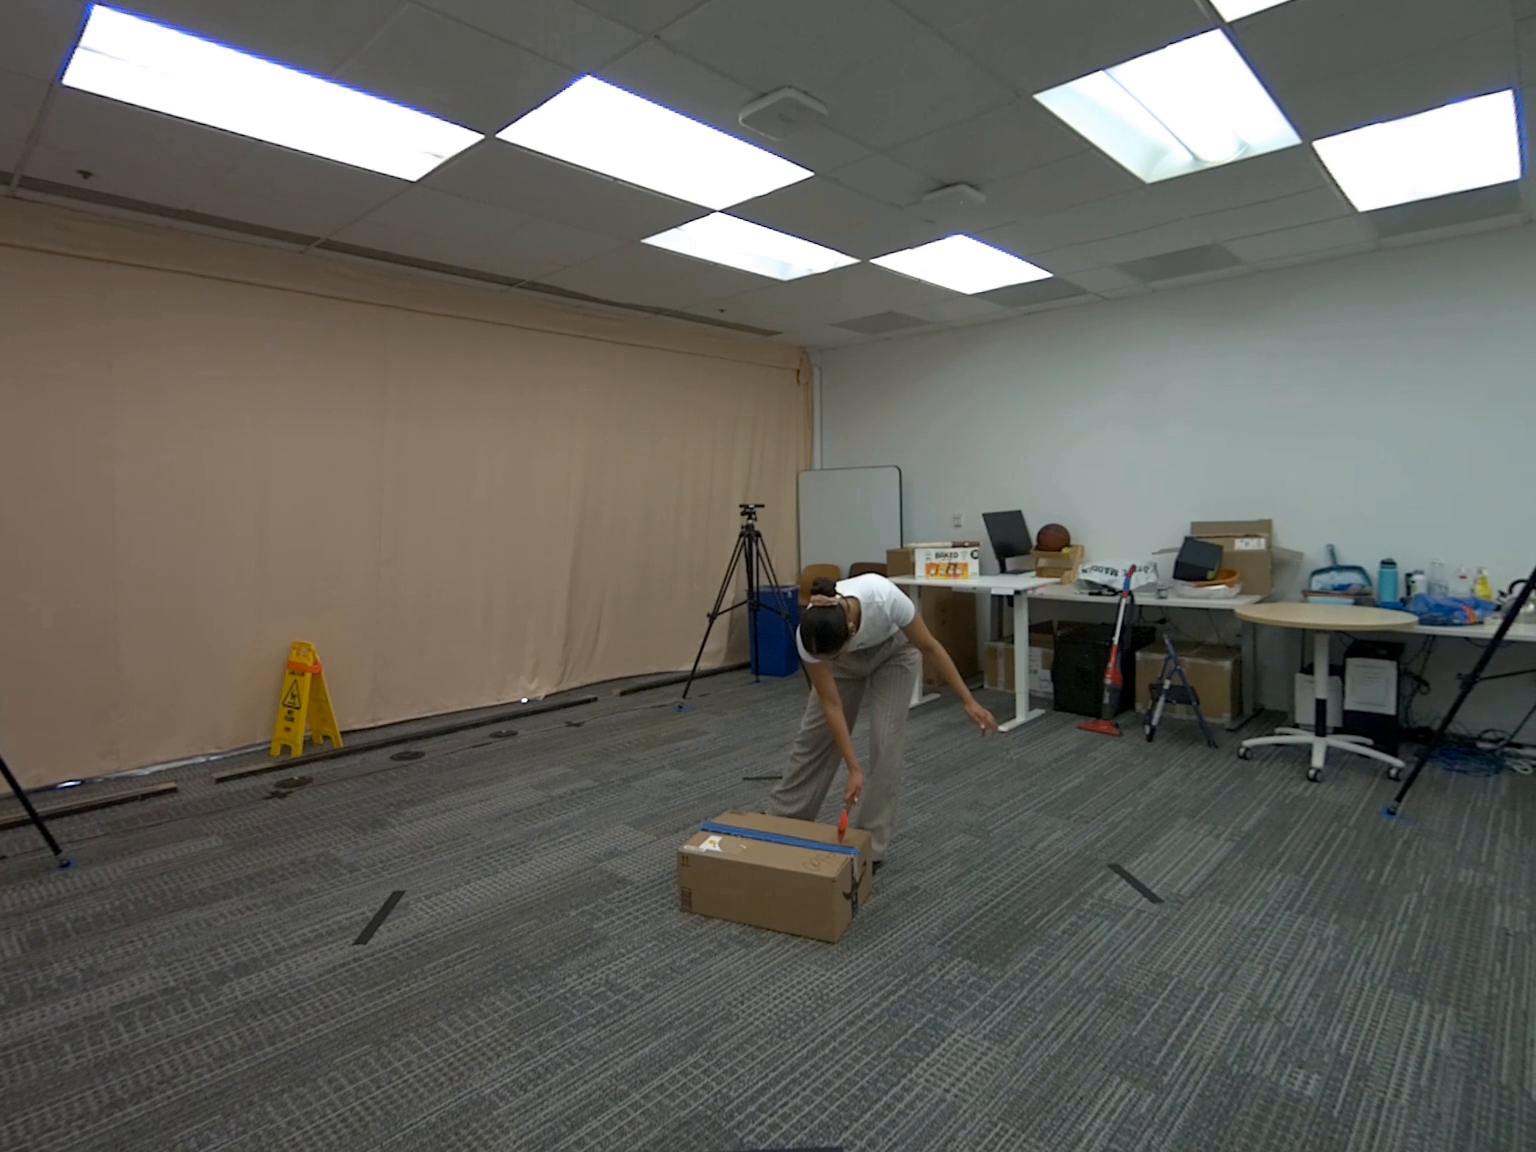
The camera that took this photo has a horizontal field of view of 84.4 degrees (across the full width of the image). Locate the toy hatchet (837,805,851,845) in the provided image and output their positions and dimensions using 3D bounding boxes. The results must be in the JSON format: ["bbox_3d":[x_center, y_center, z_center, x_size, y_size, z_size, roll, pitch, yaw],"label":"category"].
[{"bbox_3d":[0.279,0.848,2.990,0.030,0.130,0.266,7,6,14],"label":"toy hatchet"}]
